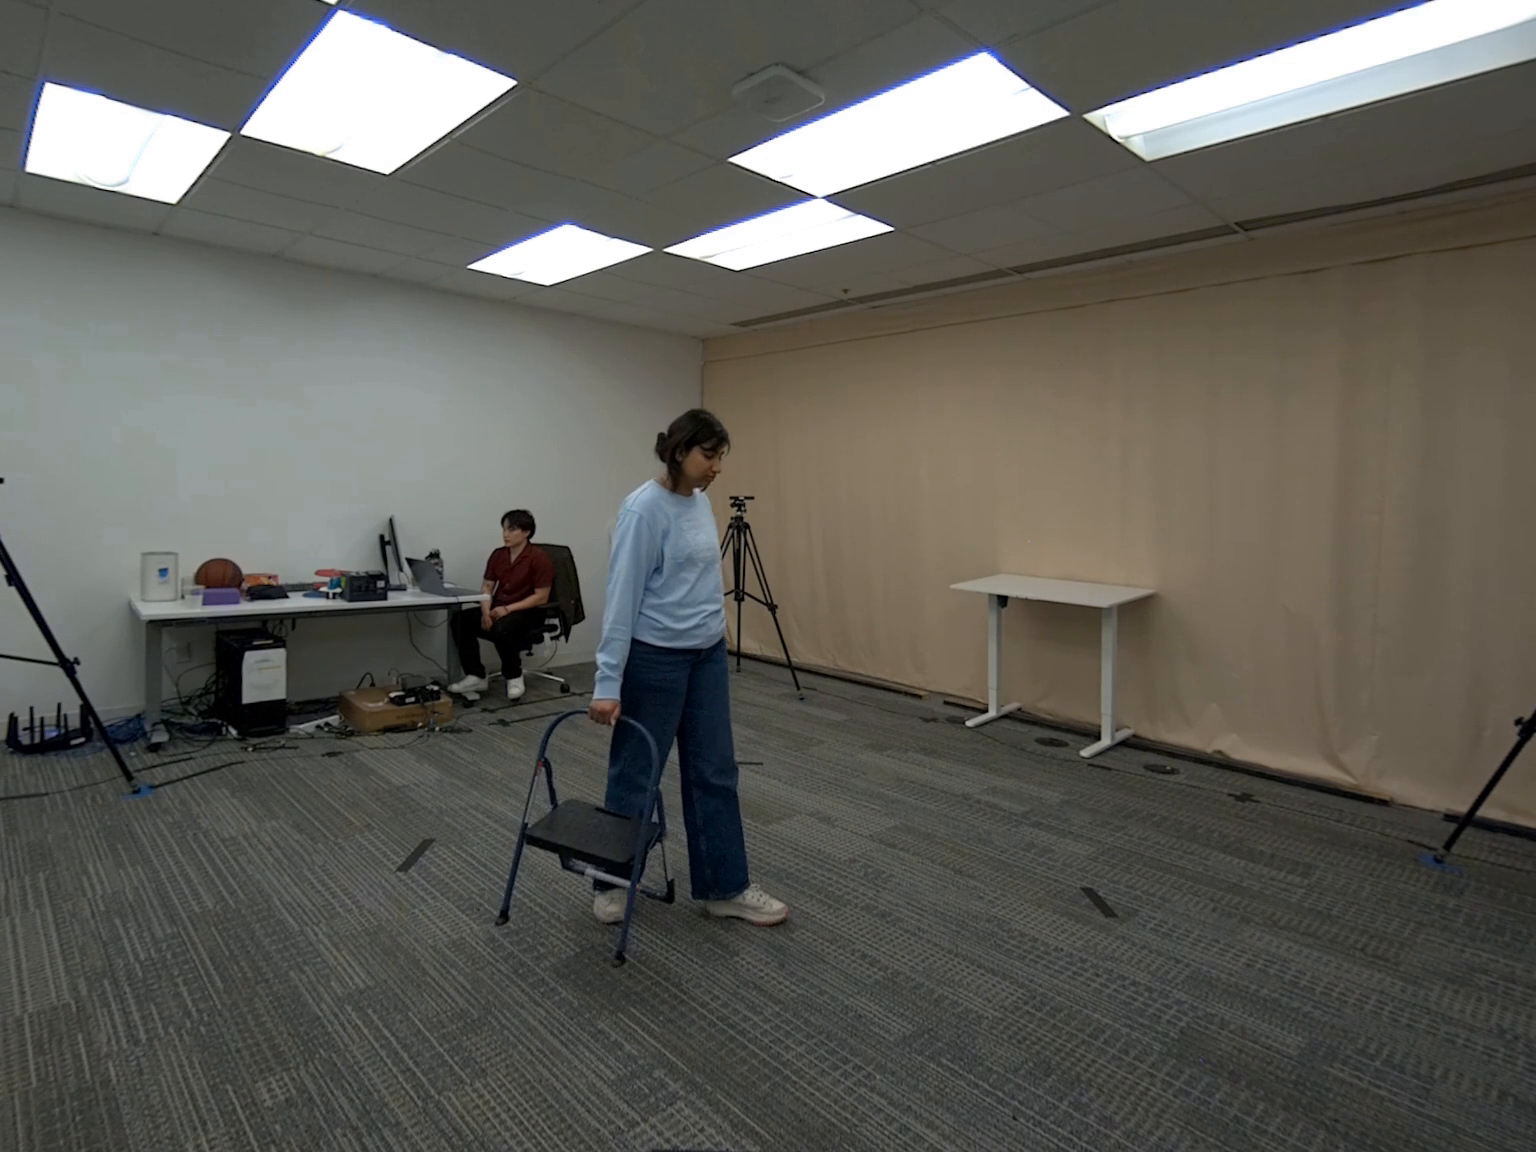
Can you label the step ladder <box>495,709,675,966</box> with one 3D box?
[{"bbox_3d":[-0.528,0.723,2.473,0.439,0.601,0.345,9,12,22],"label":"step ladder"}]
